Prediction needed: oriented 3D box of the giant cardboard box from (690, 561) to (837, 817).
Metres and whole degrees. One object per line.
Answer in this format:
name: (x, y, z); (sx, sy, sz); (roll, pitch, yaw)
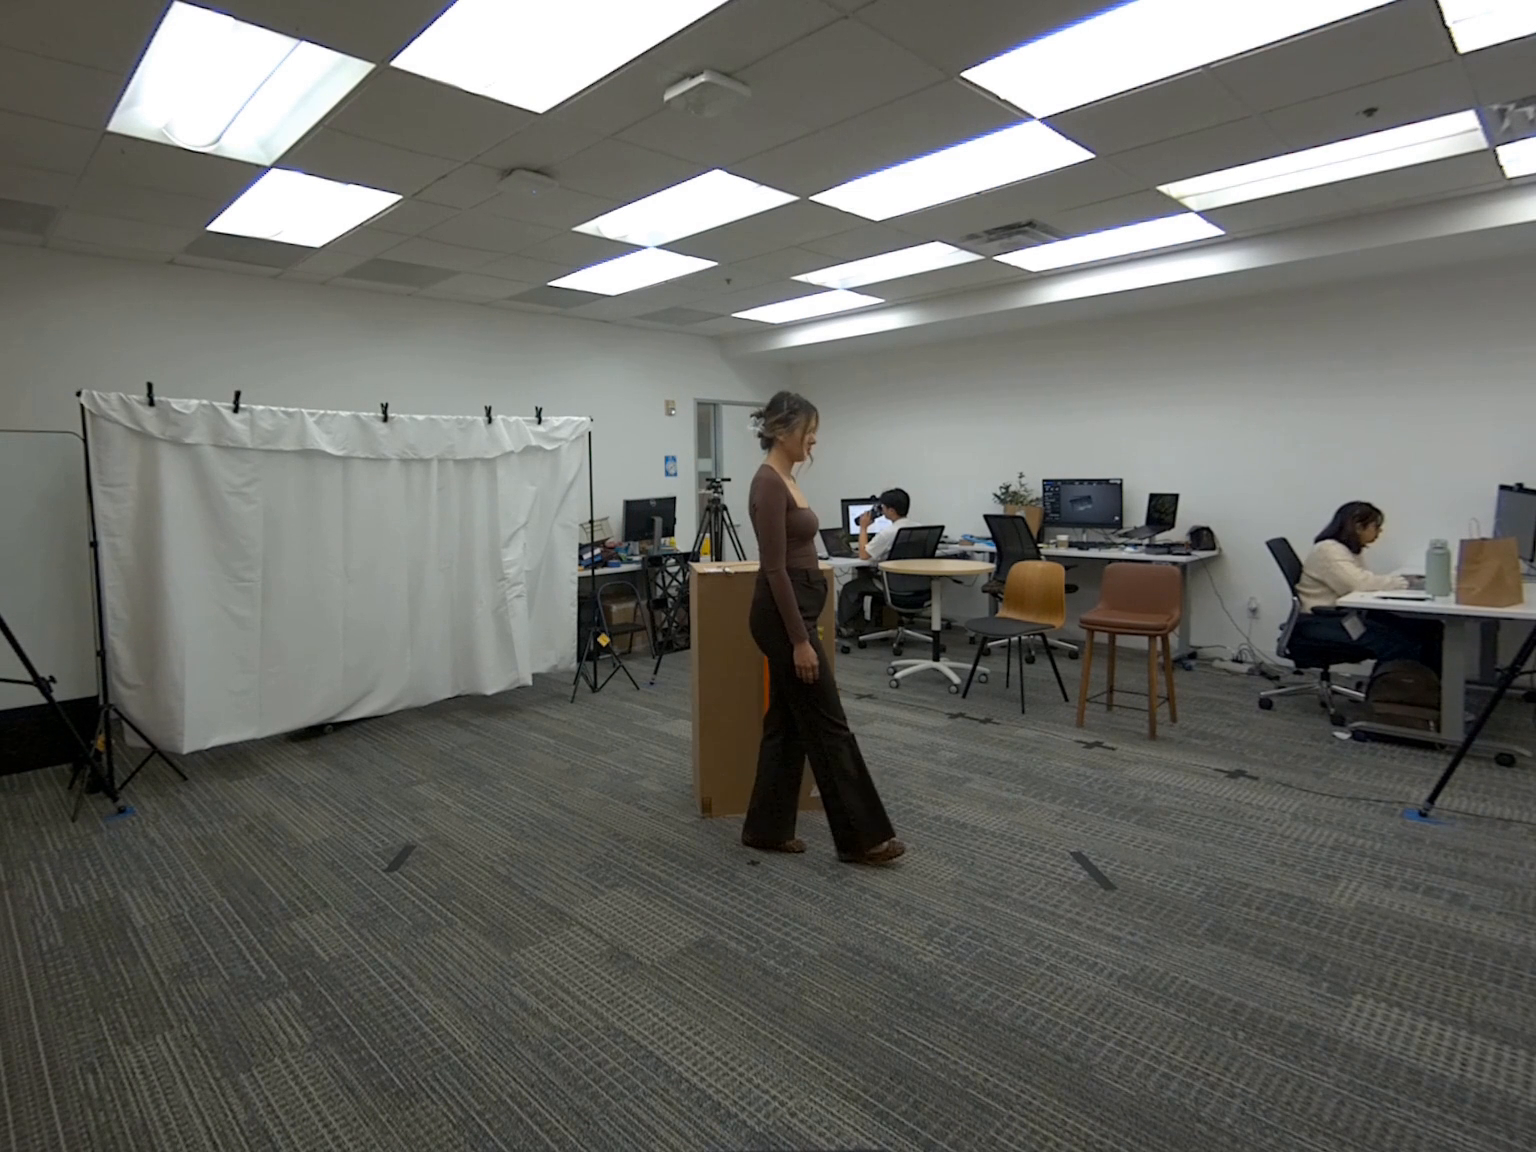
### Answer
giant cardboard box: (-0.032, 0.460, 3.744); (0.579, 1.024, 0.451); (-2, 3, -9)
